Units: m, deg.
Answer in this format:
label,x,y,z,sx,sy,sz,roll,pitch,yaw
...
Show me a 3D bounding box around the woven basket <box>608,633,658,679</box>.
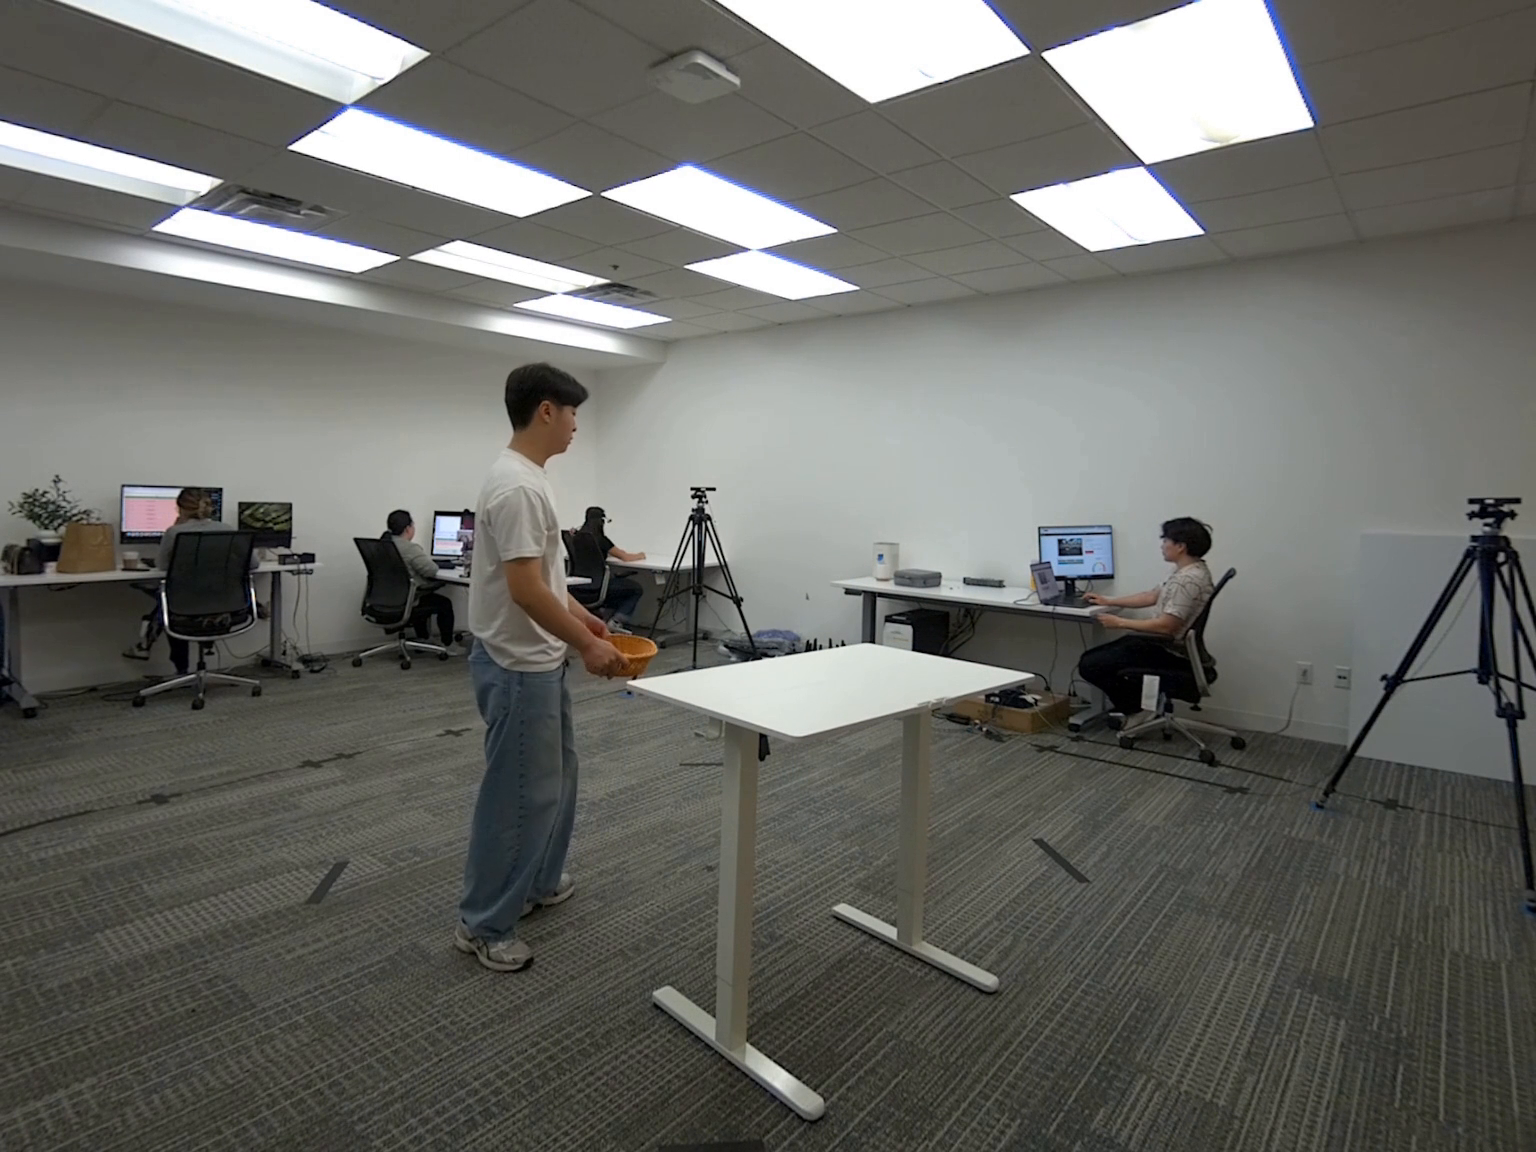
label,x,y,z,sx,sy,sz,roll,pitch,yaw
woven basket,-0.502,0.250,2.633,0.253,0.073,0.351,3,6,2
